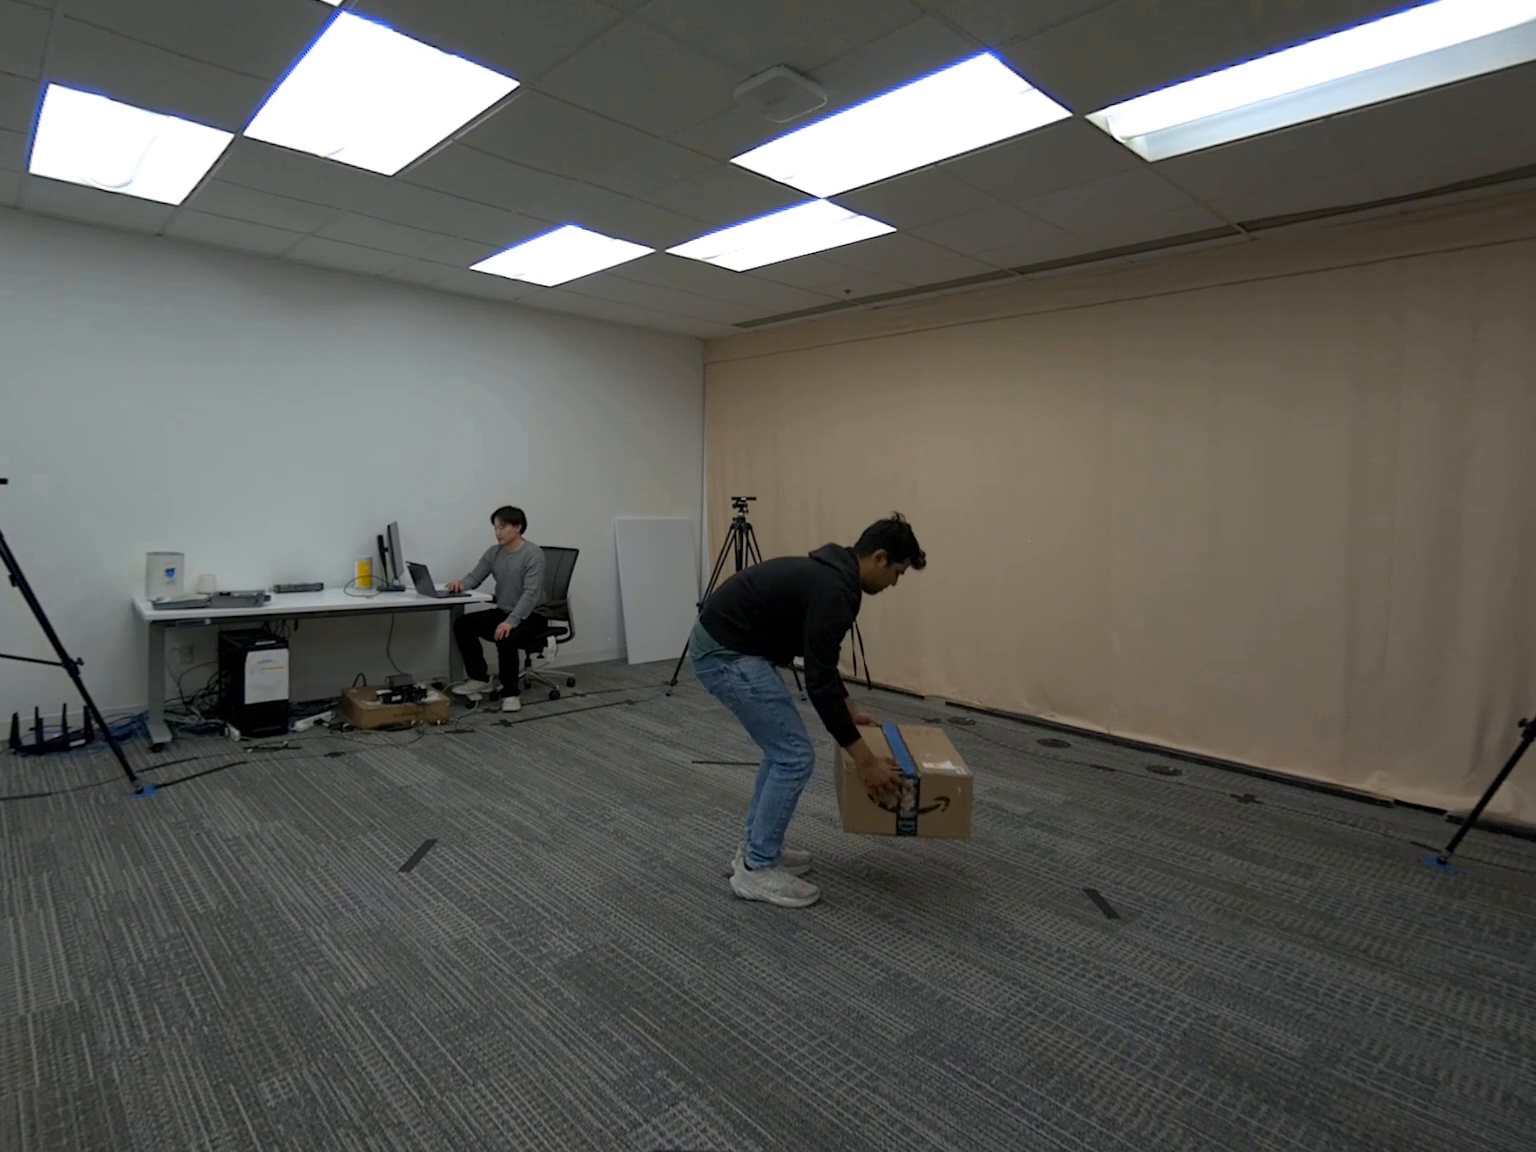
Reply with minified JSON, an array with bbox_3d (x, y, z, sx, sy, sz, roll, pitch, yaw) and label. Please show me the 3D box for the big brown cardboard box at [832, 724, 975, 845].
[{"bbox_3d":[0.456,0.717,3.021,0.419,0.232,0.588,1,4,2],"label":"big brown cardboard box"}]
